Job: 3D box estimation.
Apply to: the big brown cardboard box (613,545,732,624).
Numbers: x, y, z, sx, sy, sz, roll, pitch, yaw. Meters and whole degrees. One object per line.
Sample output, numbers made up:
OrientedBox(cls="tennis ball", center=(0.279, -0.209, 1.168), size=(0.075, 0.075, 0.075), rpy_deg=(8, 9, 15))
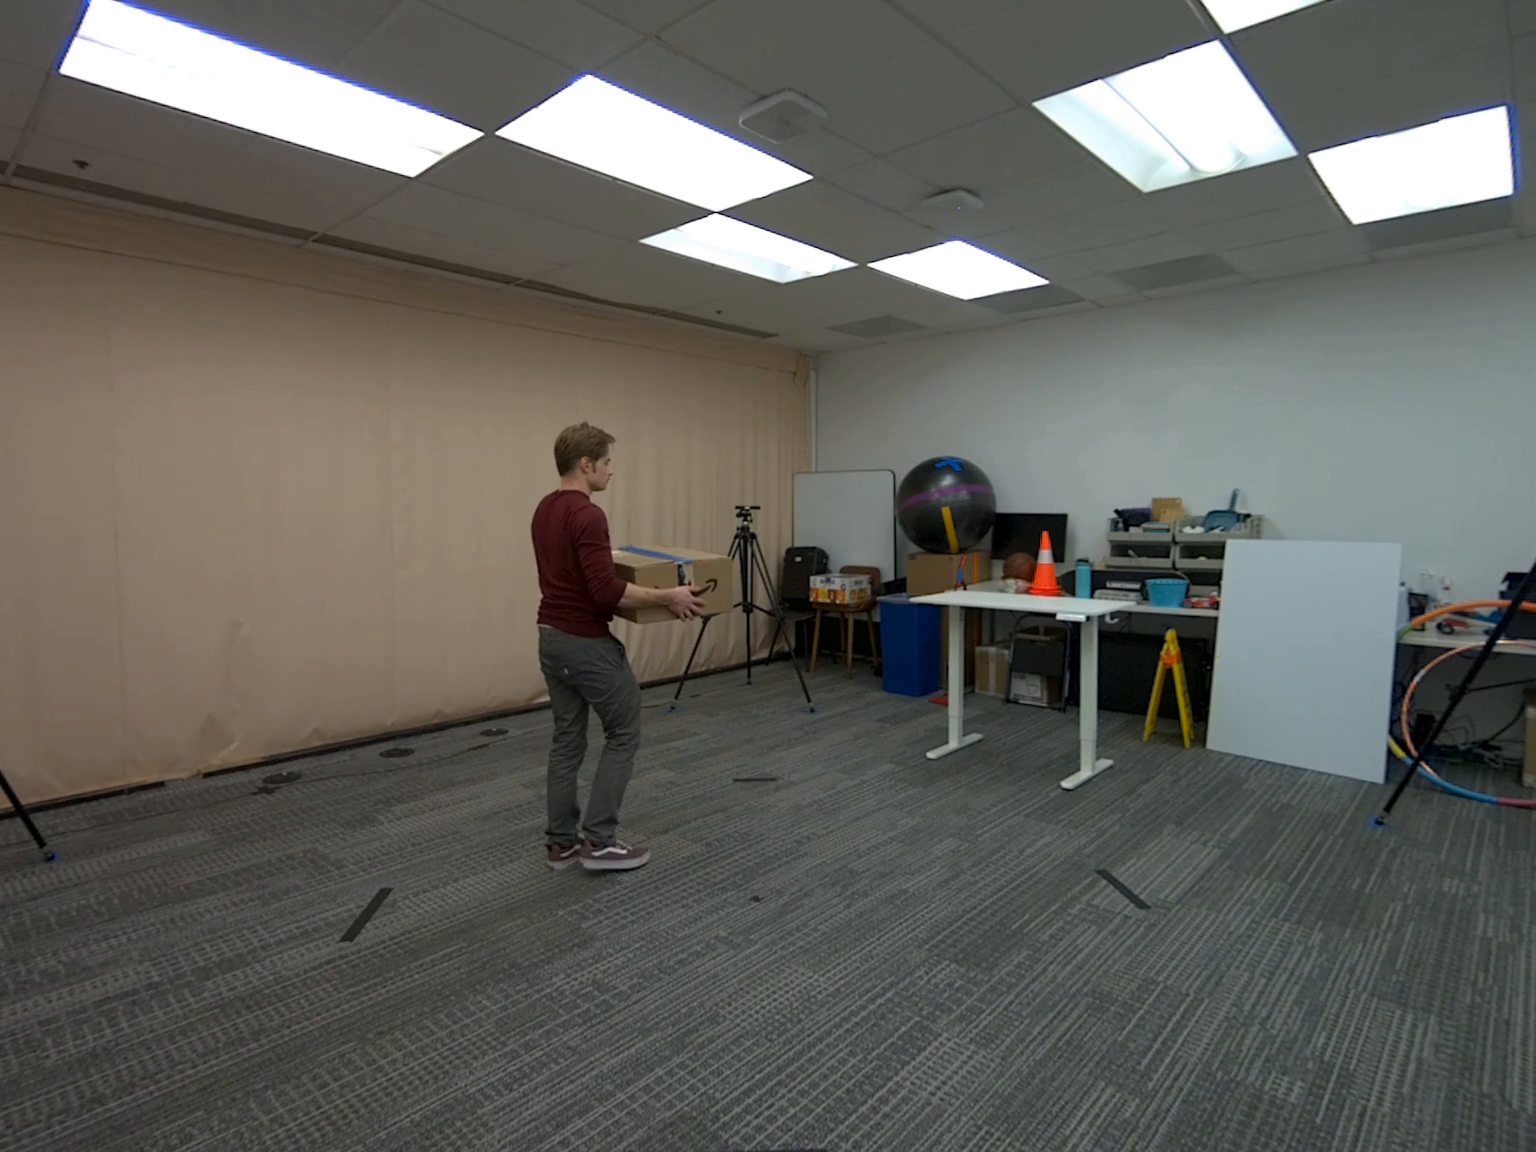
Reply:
OrientedBox(cls="big brown cardboard box", center=(-0.459, 0.021, 3.422), size=(0.407, 0.232, 0.608), rpy_deg=(-7, 10, -32))
